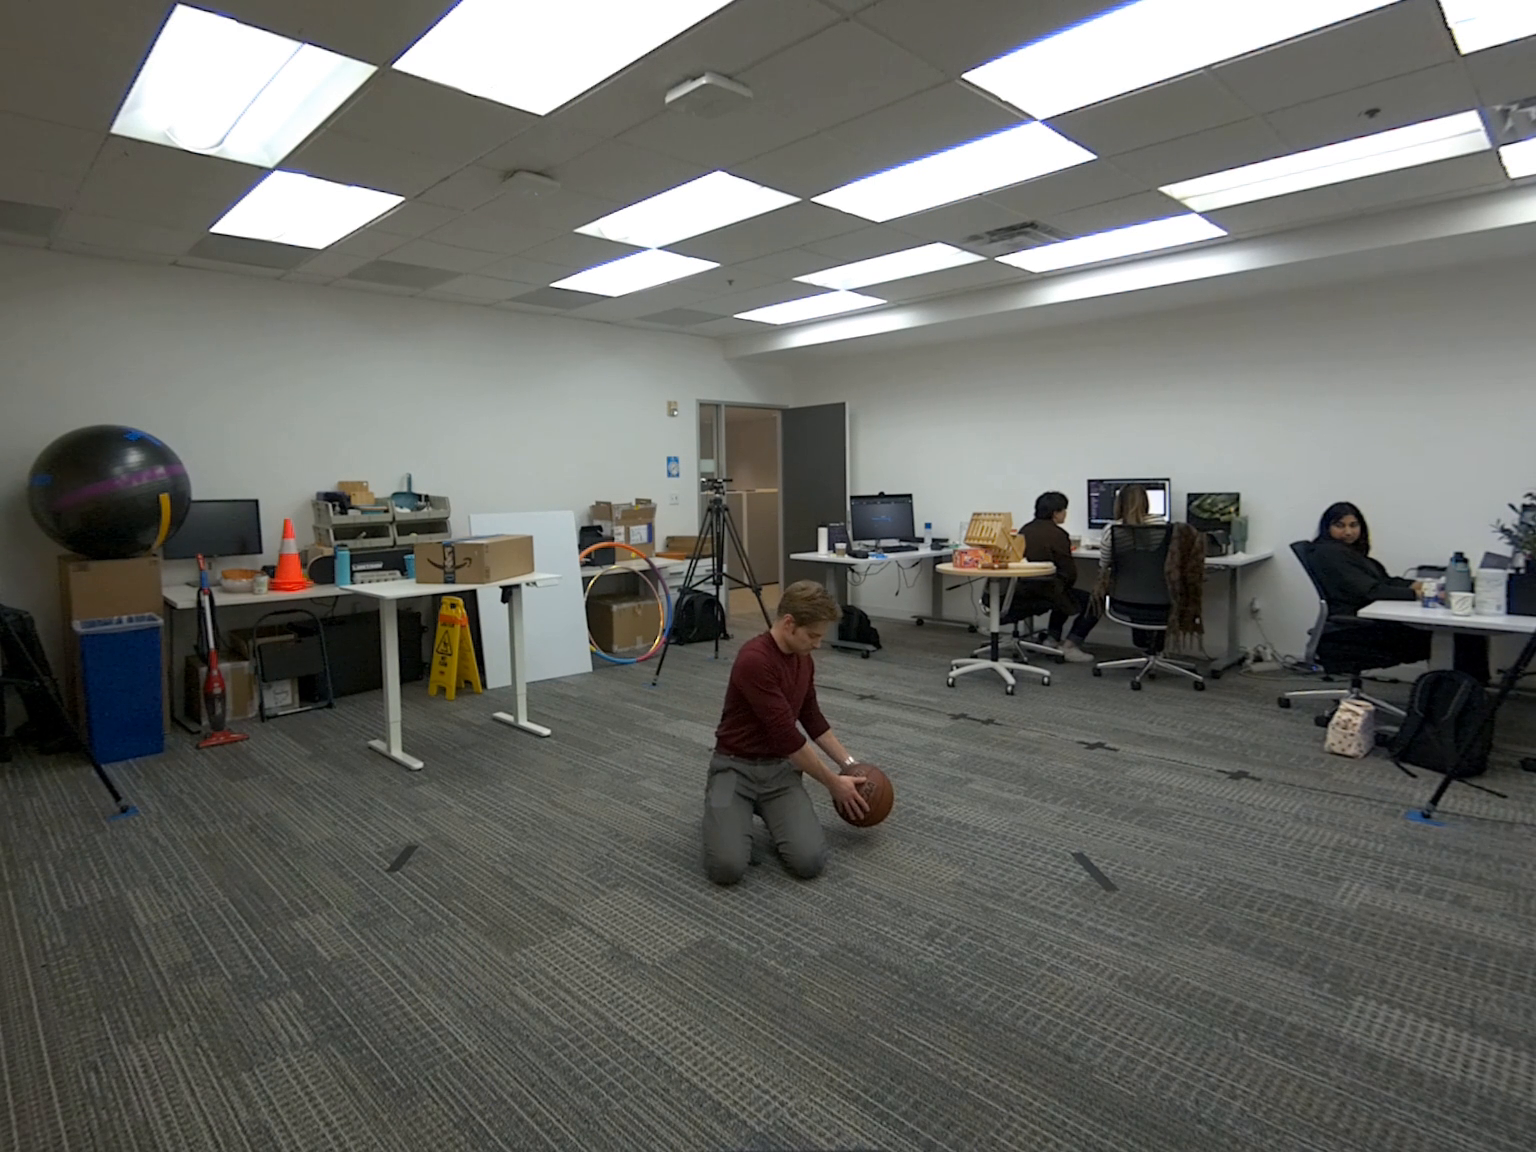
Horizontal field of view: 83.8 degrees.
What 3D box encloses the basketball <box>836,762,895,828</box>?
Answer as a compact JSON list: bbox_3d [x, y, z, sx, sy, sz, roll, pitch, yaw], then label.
[{"bbox_3d":[0.369,0.846,3.303,0.236,0.235,0.237,-1,5,-2],"label":"basketball"}]
